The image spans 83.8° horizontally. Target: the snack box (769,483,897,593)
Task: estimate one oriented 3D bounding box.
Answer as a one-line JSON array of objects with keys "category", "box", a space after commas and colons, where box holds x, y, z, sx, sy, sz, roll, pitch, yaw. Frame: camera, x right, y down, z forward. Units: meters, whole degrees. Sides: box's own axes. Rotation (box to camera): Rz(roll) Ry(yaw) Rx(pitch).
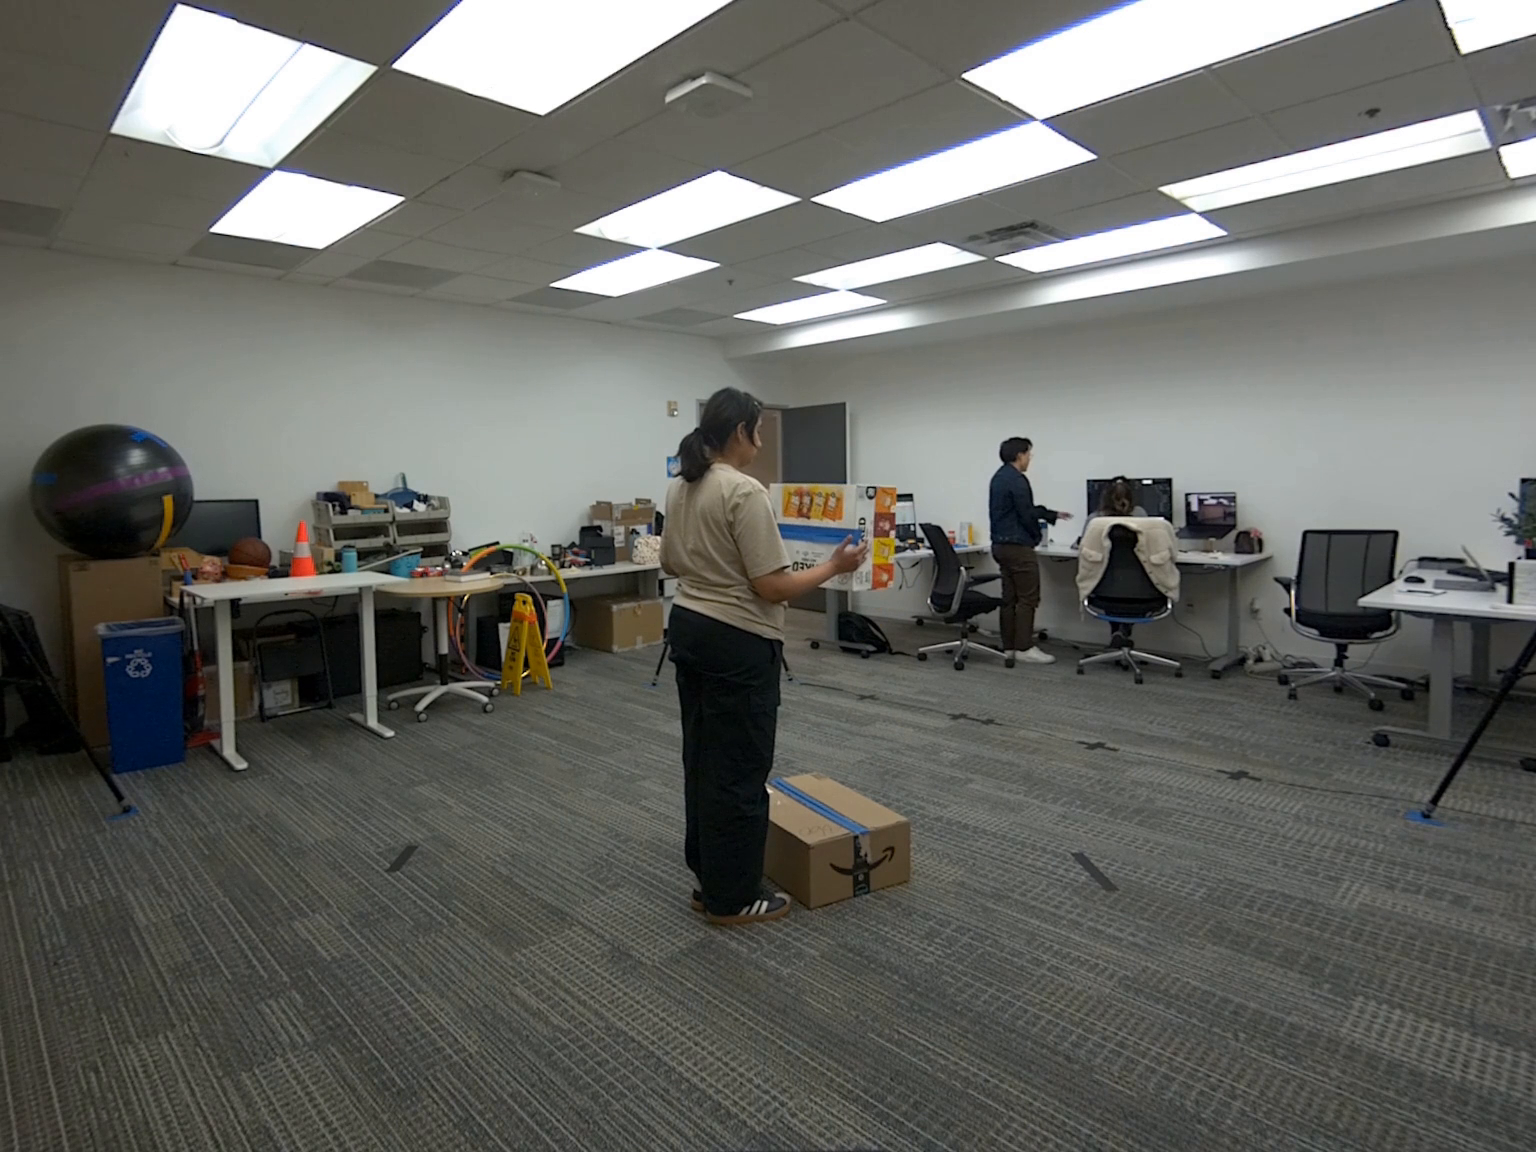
[{"category": "snack box", "box": [0.212, -0.141, 2.928, 0.200, 0.339, 0.418, 0, 5, -43]}]
